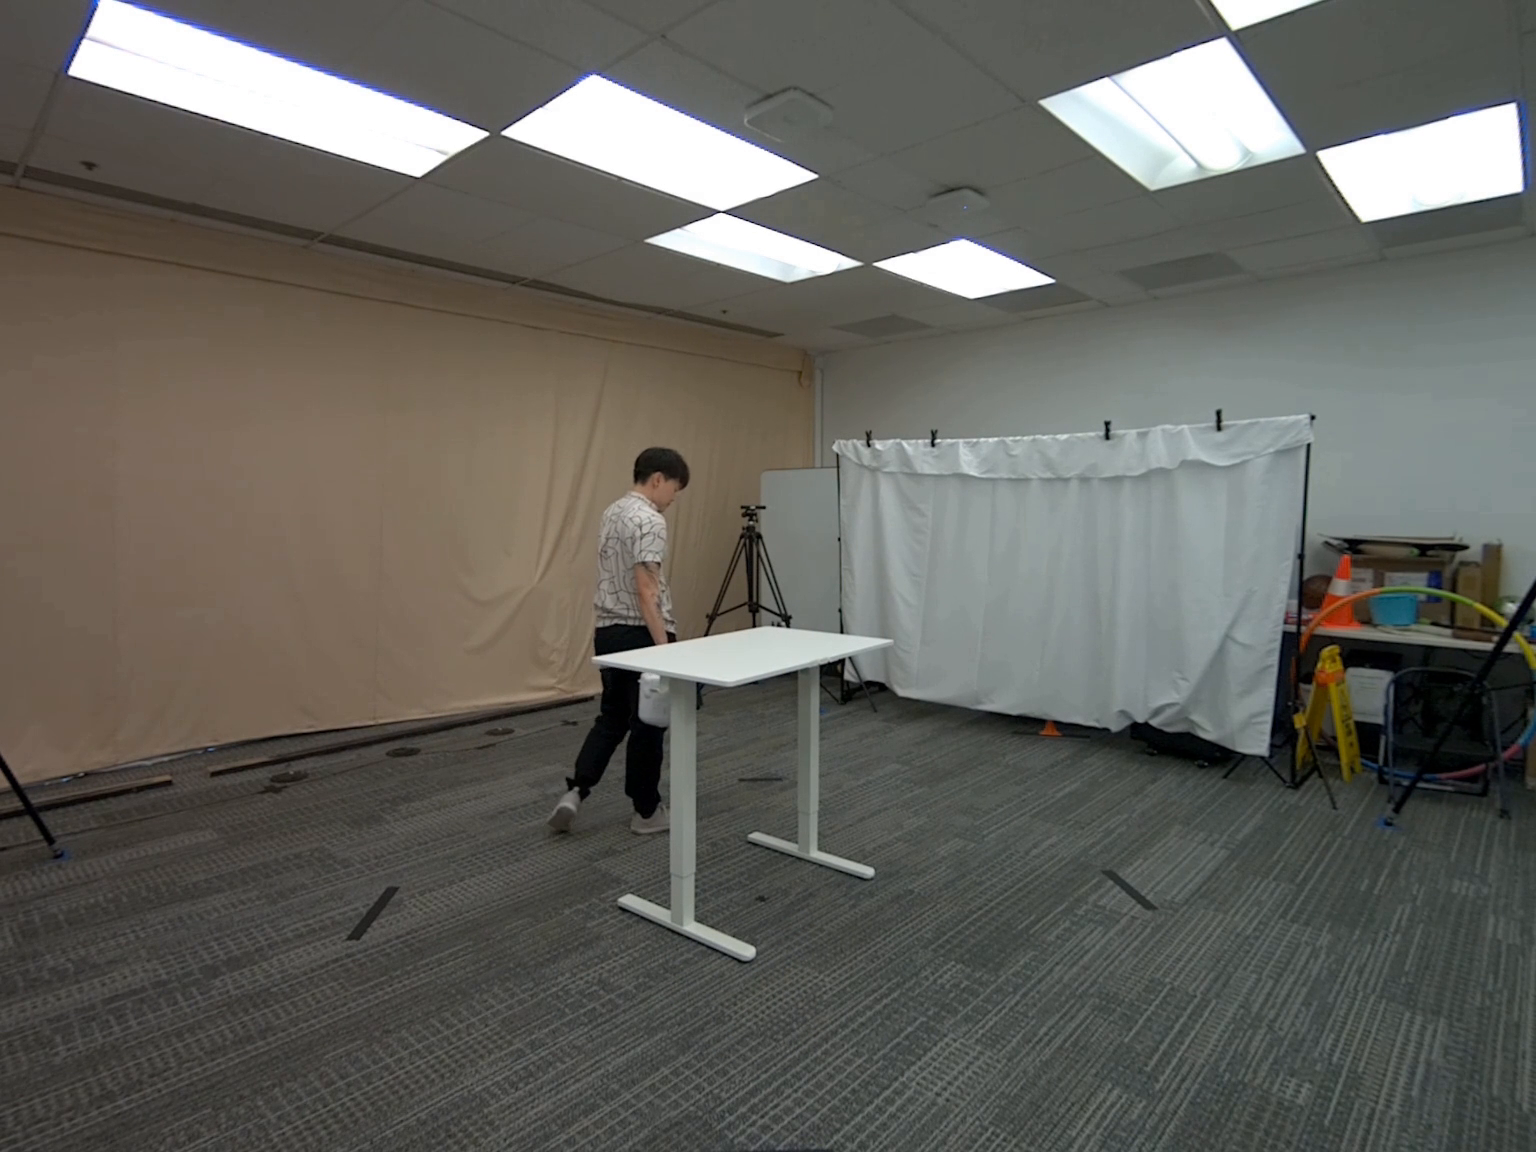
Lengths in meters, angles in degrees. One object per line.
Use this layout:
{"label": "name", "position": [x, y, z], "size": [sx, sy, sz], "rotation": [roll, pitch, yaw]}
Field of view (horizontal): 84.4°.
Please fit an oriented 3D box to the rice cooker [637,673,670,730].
{"label": "rice cooker", "position": [-0.406, 0.470, 3.358], "size": [0.224, 0.233, 0.213], "rotation": [2, 0, 39]}
